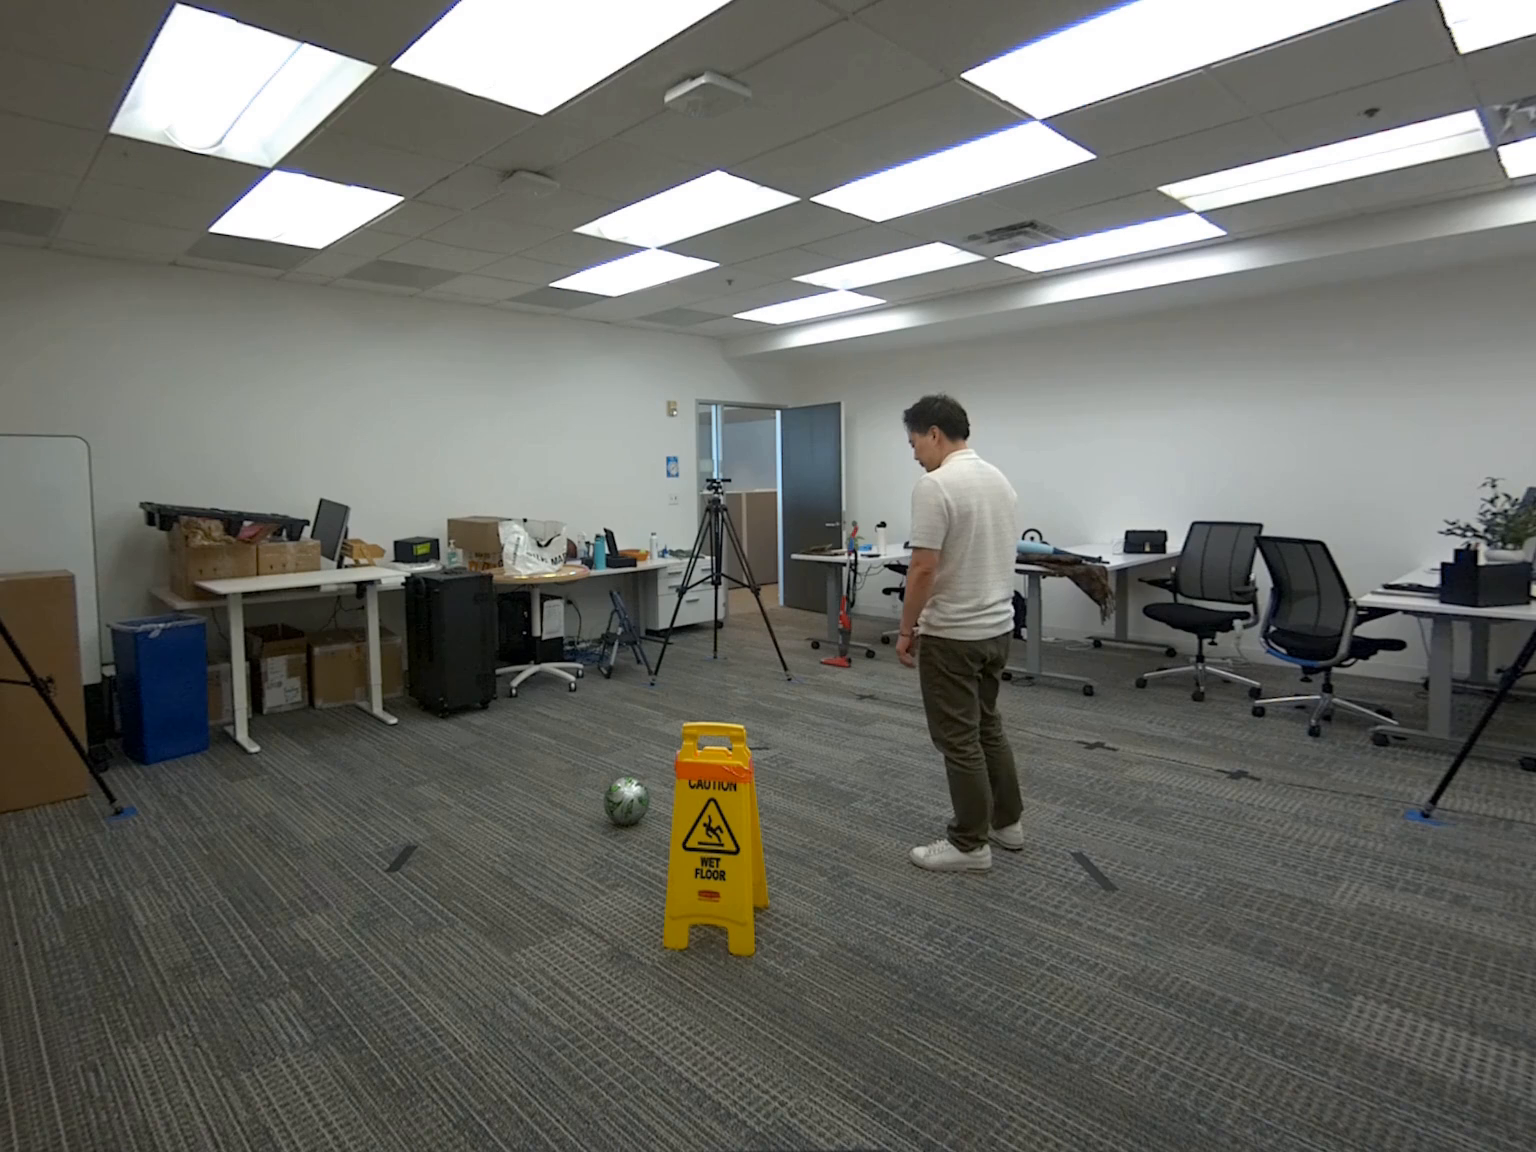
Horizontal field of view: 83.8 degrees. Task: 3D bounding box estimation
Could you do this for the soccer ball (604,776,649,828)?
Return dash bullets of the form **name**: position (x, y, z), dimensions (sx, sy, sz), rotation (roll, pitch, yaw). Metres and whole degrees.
- **soccer ball**: position (-0.570, 0.916, 3.486), dimensions (0.187, 0.187, 0.188), rotation (-1, 5, -2)
